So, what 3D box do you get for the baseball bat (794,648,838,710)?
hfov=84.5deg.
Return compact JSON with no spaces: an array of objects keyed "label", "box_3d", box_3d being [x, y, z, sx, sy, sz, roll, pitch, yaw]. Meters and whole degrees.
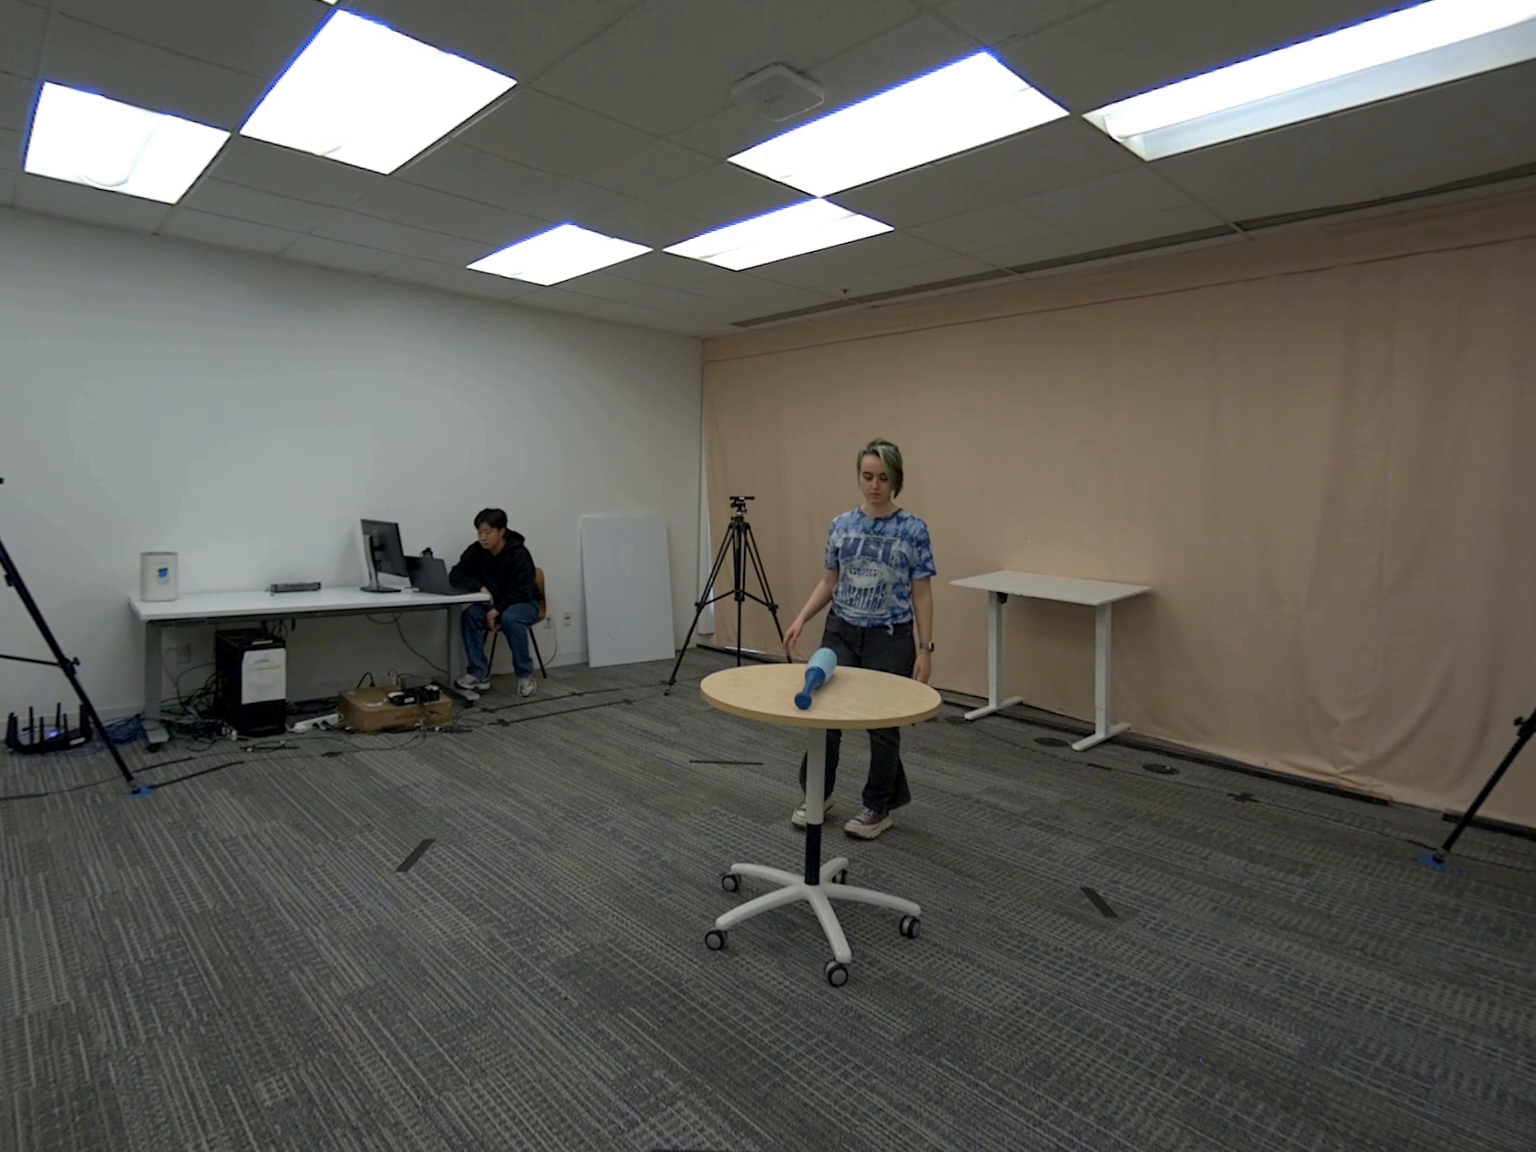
[{"label":"baseball bat","box_3d":[0.146,0.331,2.670,0.090,0.088,0.542,2,8,8]}]
